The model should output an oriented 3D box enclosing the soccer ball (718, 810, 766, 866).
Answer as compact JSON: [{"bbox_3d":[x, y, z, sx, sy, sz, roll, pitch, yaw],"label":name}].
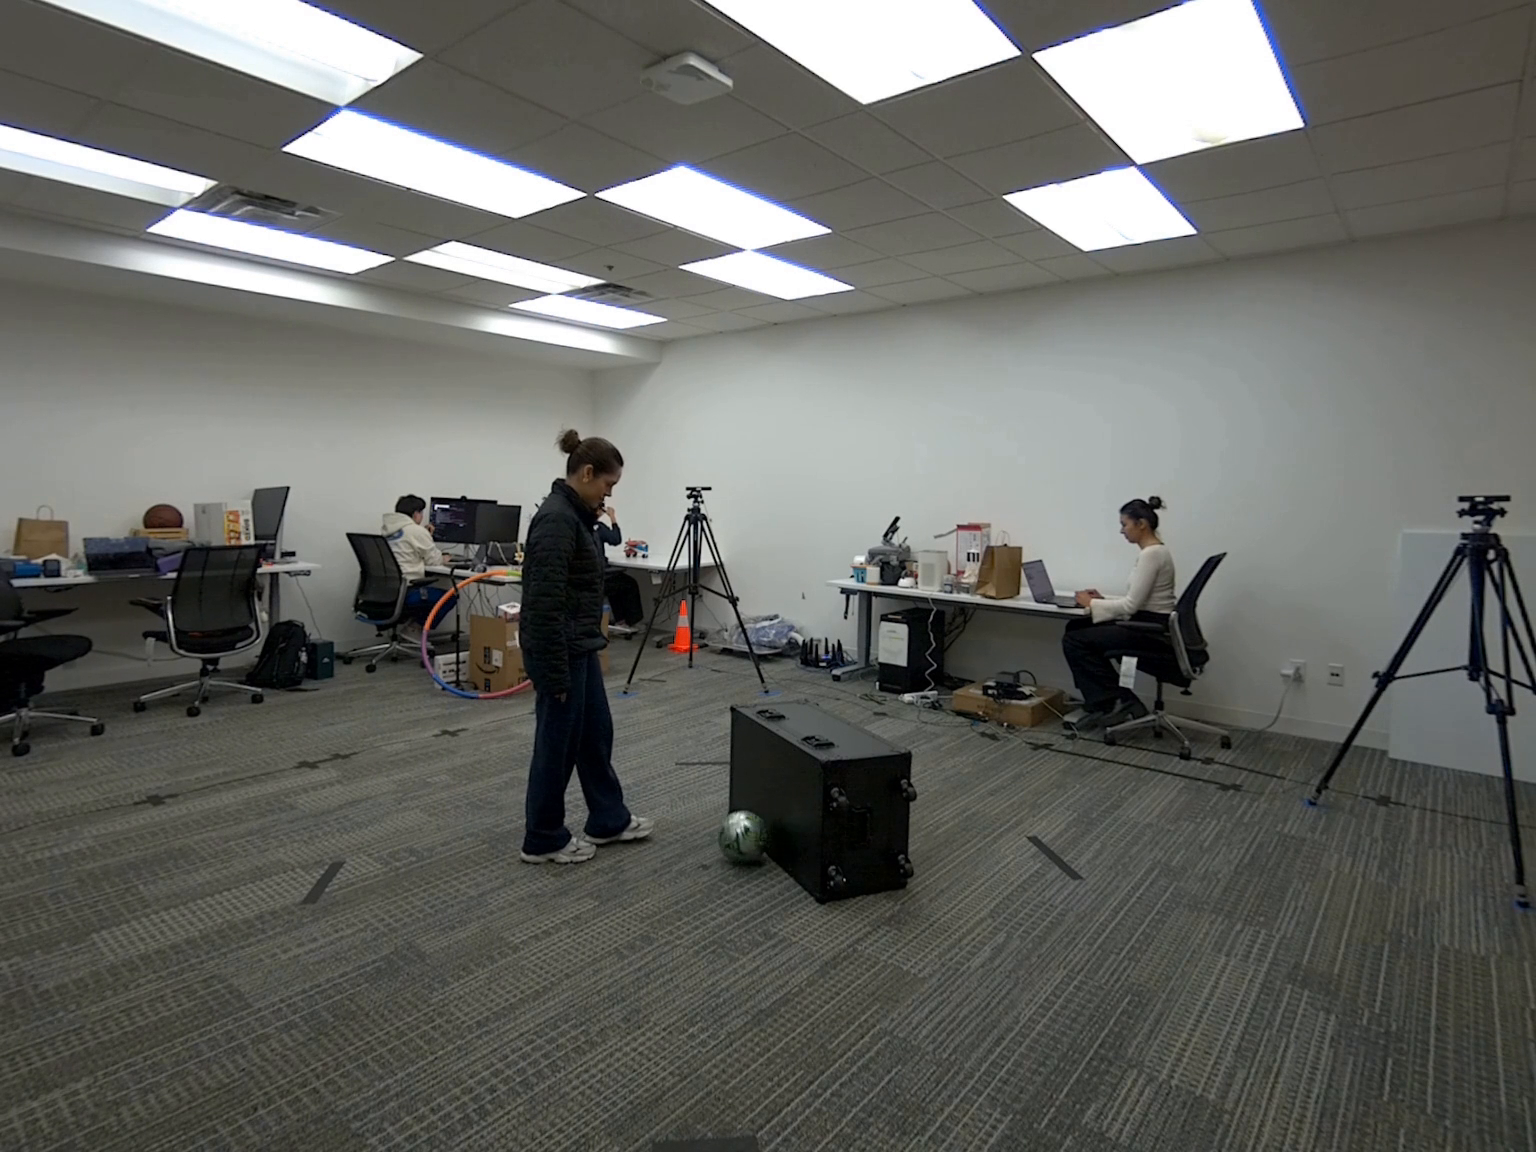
[{"bbox_3d":[-0.110,0.976,3.173,0.187,0.187,0.188,1,4,-2],"label":"soccer ball"}]
